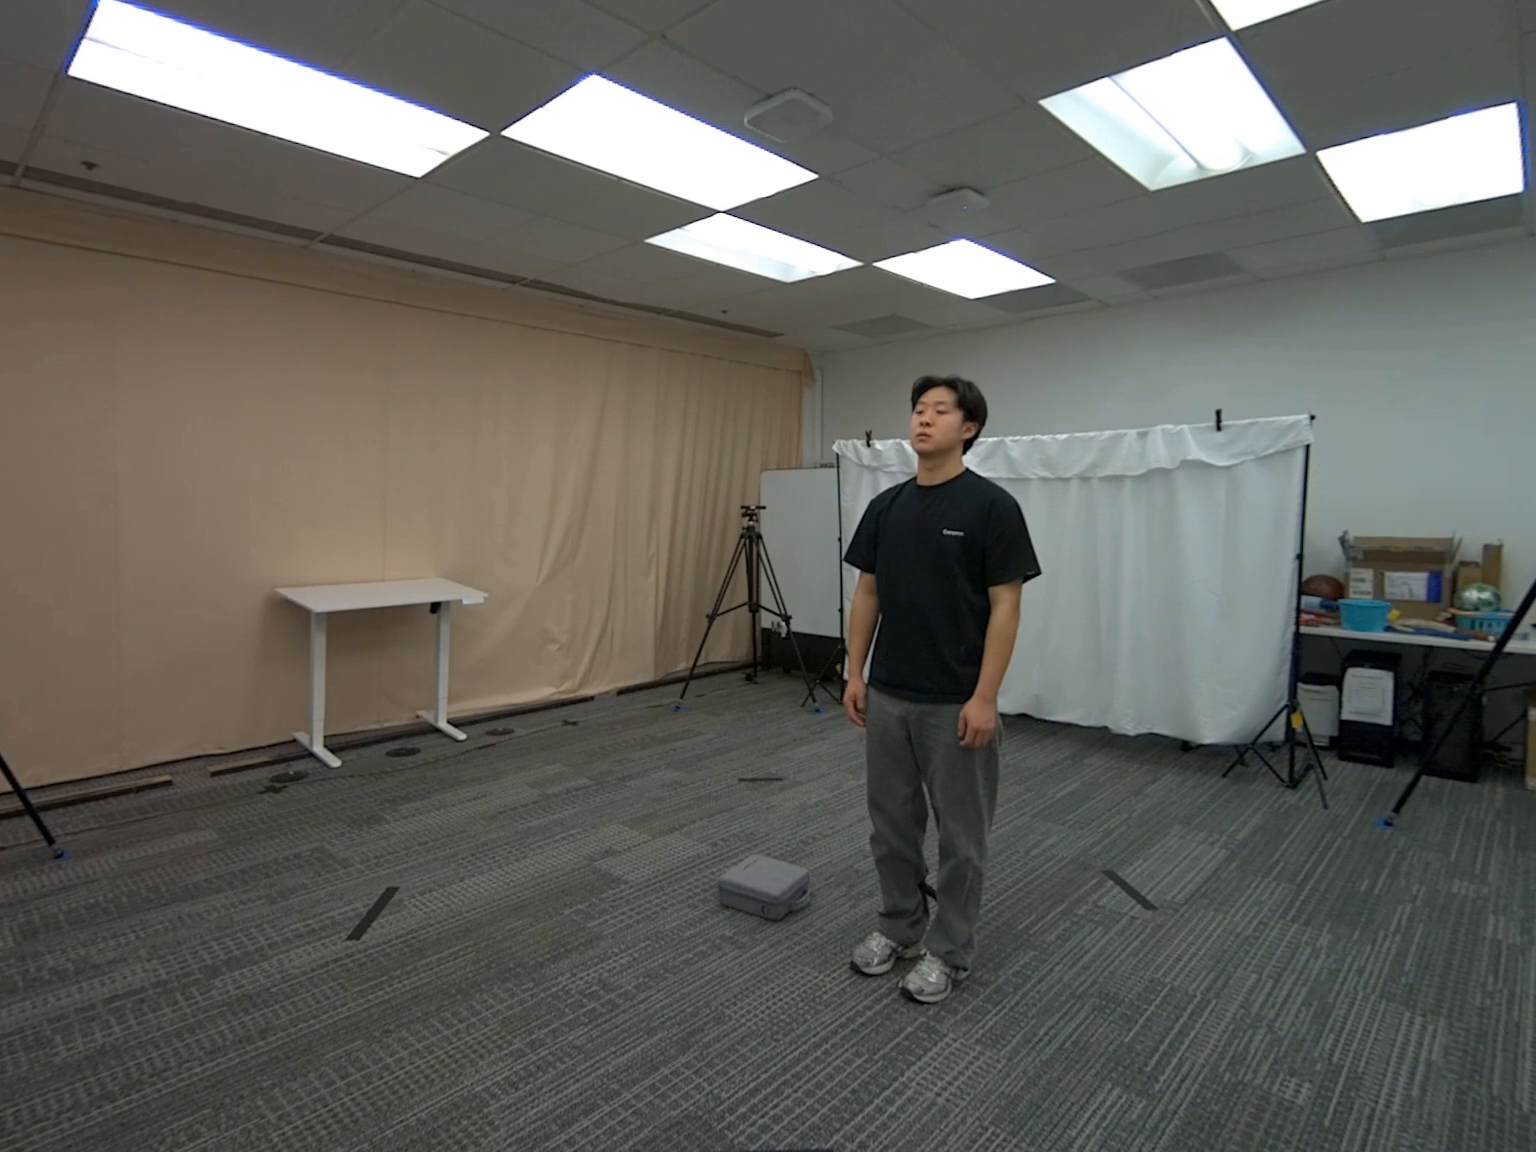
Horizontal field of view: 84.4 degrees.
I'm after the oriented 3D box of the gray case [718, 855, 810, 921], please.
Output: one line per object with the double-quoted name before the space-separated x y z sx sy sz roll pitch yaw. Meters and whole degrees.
"gray case" 0.002 1.090 2.961 0.296 0.103 0.256 4 6 32
